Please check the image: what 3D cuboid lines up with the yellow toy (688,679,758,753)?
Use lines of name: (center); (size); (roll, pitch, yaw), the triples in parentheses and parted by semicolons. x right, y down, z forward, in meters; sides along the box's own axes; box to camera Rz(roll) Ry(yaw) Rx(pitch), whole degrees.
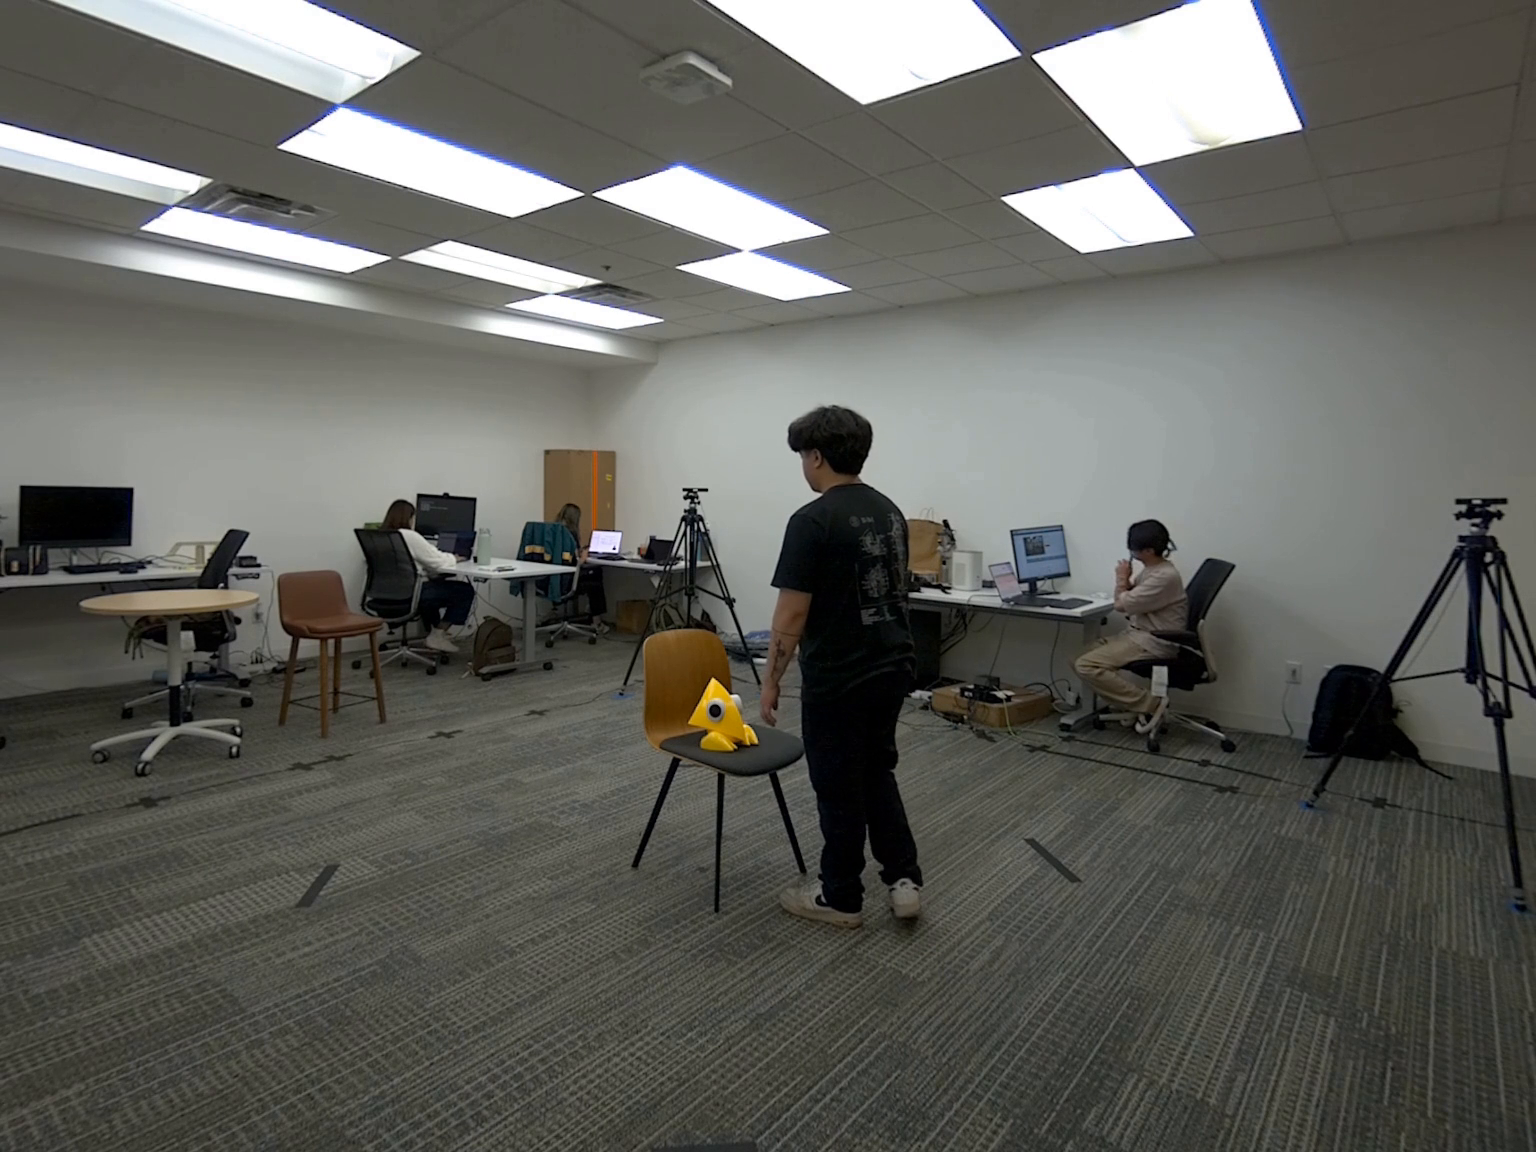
yellow toy: (-0.162, 0.485, 3.044); (0.199, 0.231, 0.198); (-2, -1, 44)
